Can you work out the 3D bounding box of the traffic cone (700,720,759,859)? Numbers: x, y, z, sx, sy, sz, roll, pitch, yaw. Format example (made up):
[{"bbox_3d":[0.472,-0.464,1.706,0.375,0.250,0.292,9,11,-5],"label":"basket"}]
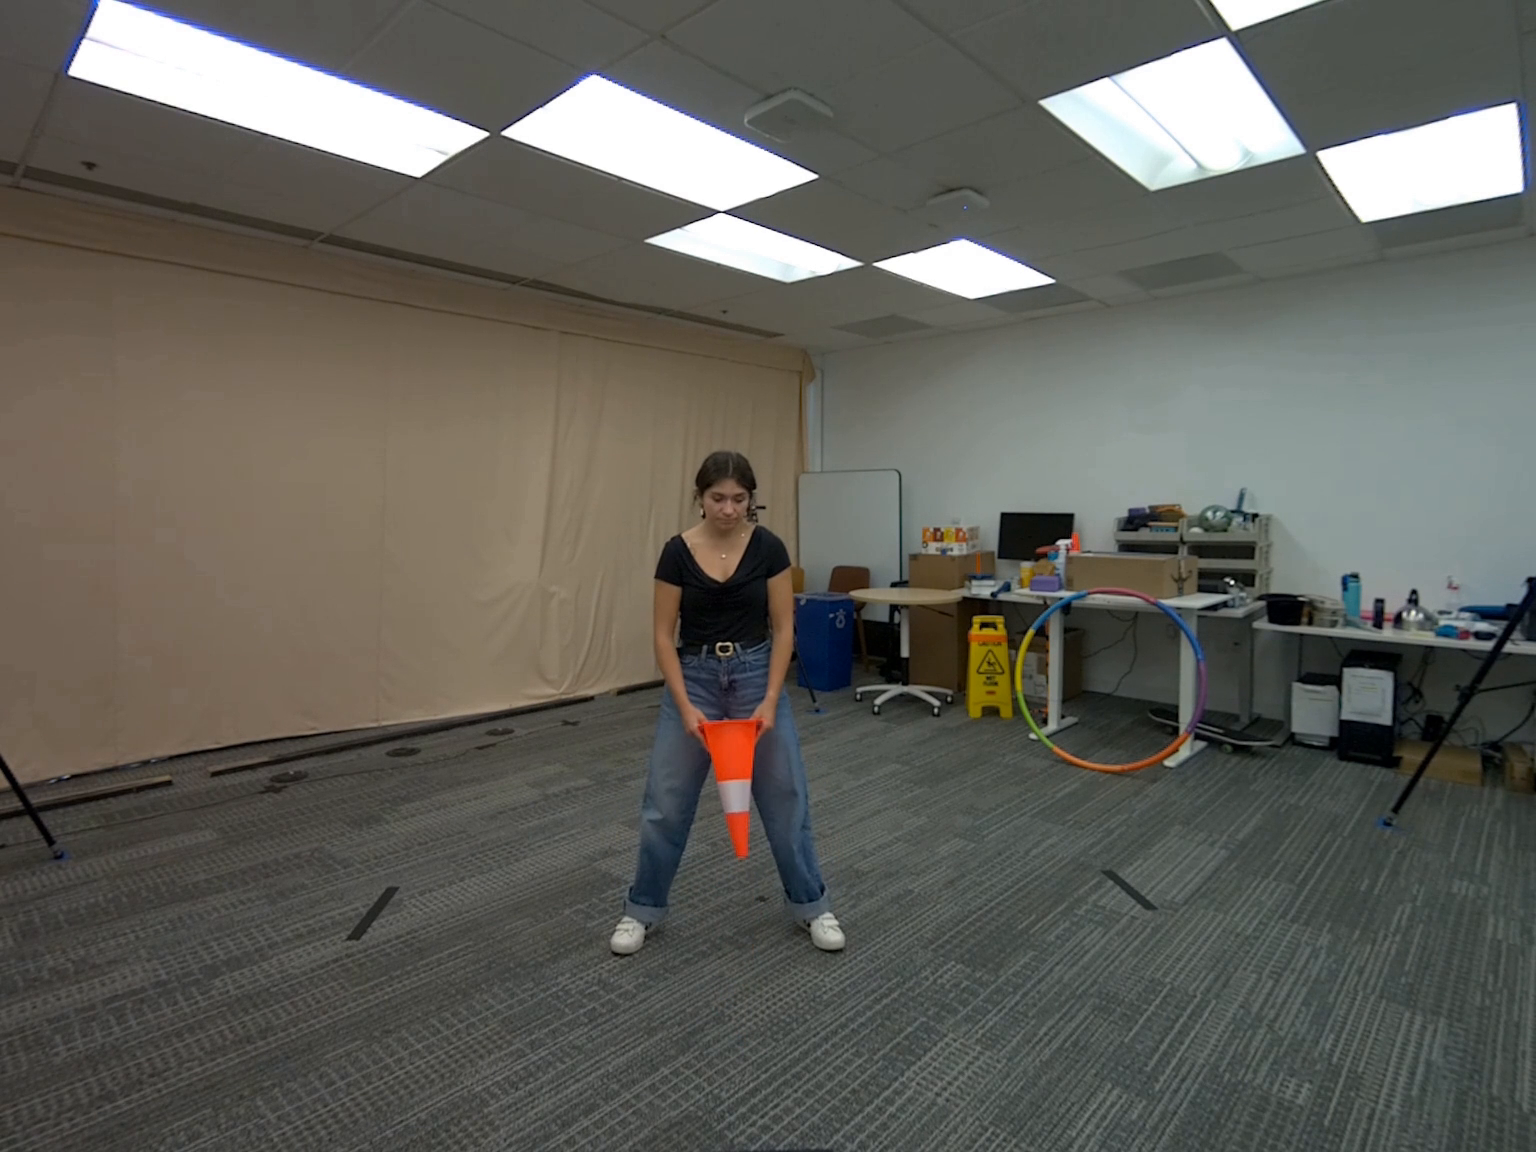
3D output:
[{"bbox_3d":[-0.090,0.634,2.477,0.205,0.389,0.201,-11,-18,6],"label":"traffic cone"}]
